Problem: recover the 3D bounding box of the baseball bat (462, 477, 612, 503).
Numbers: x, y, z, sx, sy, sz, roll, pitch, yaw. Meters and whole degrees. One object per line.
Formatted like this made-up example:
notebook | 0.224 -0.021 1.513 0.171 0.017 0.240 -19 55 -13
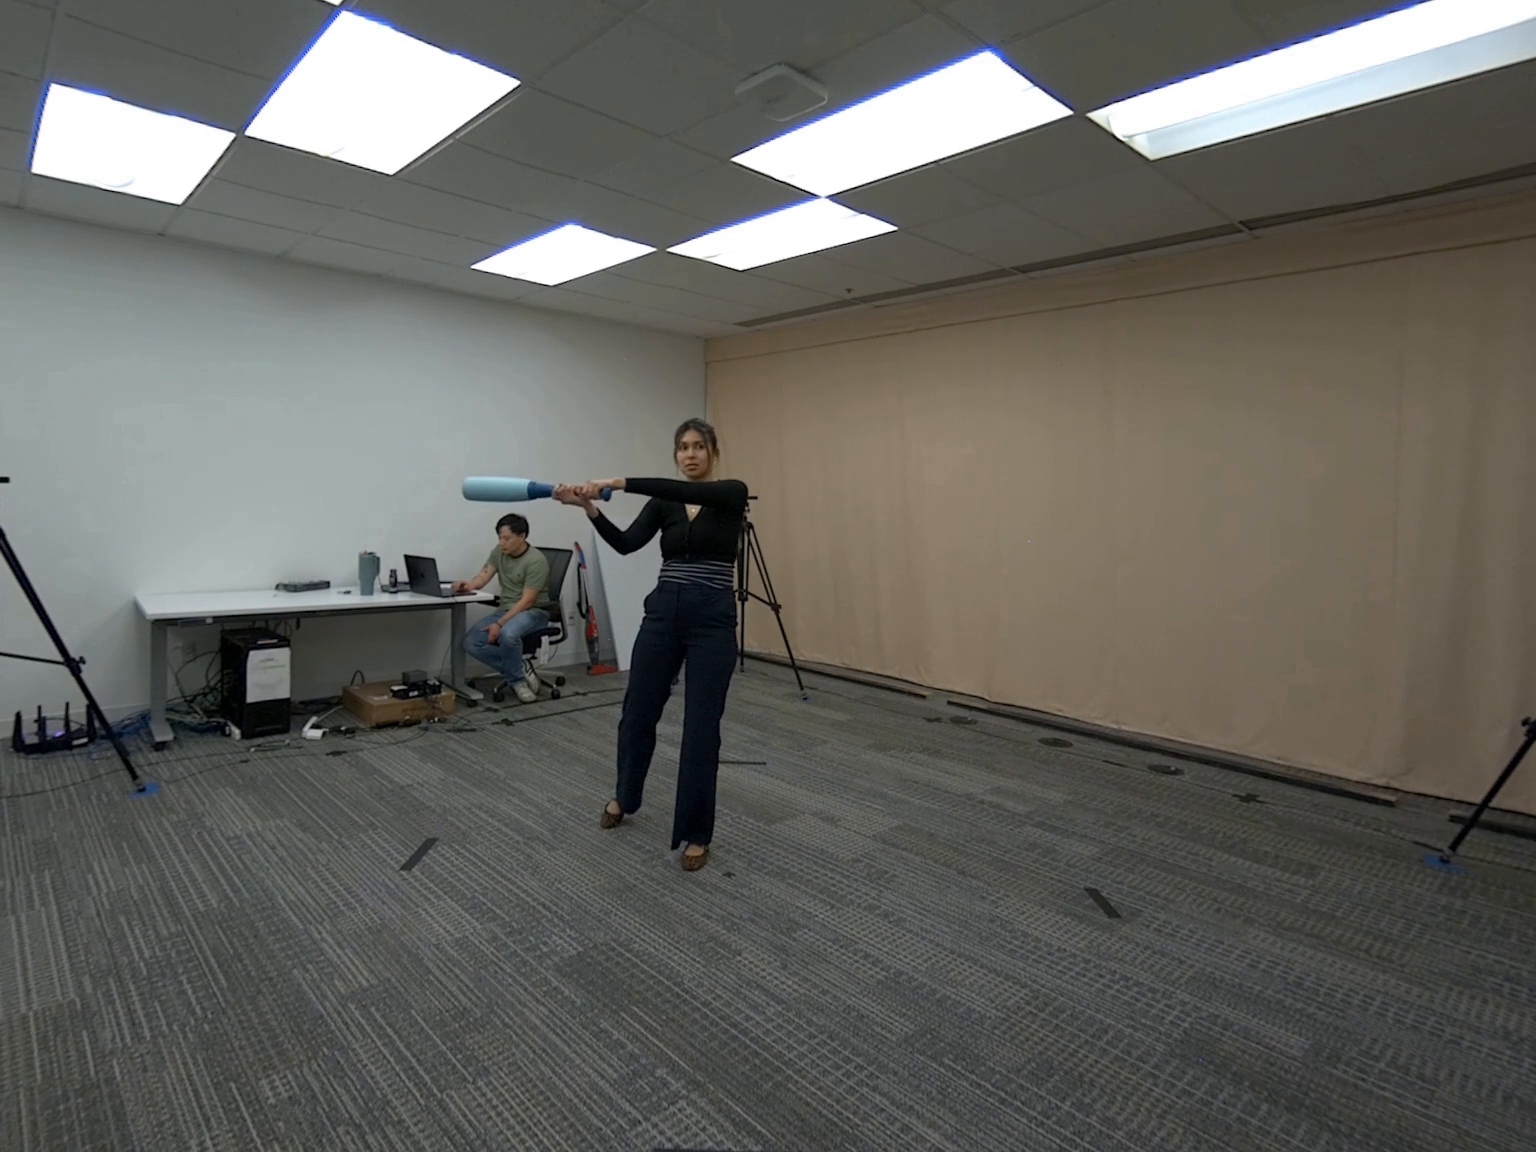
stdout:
baseball bat | -0.779 -0.307 2.990 0.546 0.089 0.089 3 4 8
